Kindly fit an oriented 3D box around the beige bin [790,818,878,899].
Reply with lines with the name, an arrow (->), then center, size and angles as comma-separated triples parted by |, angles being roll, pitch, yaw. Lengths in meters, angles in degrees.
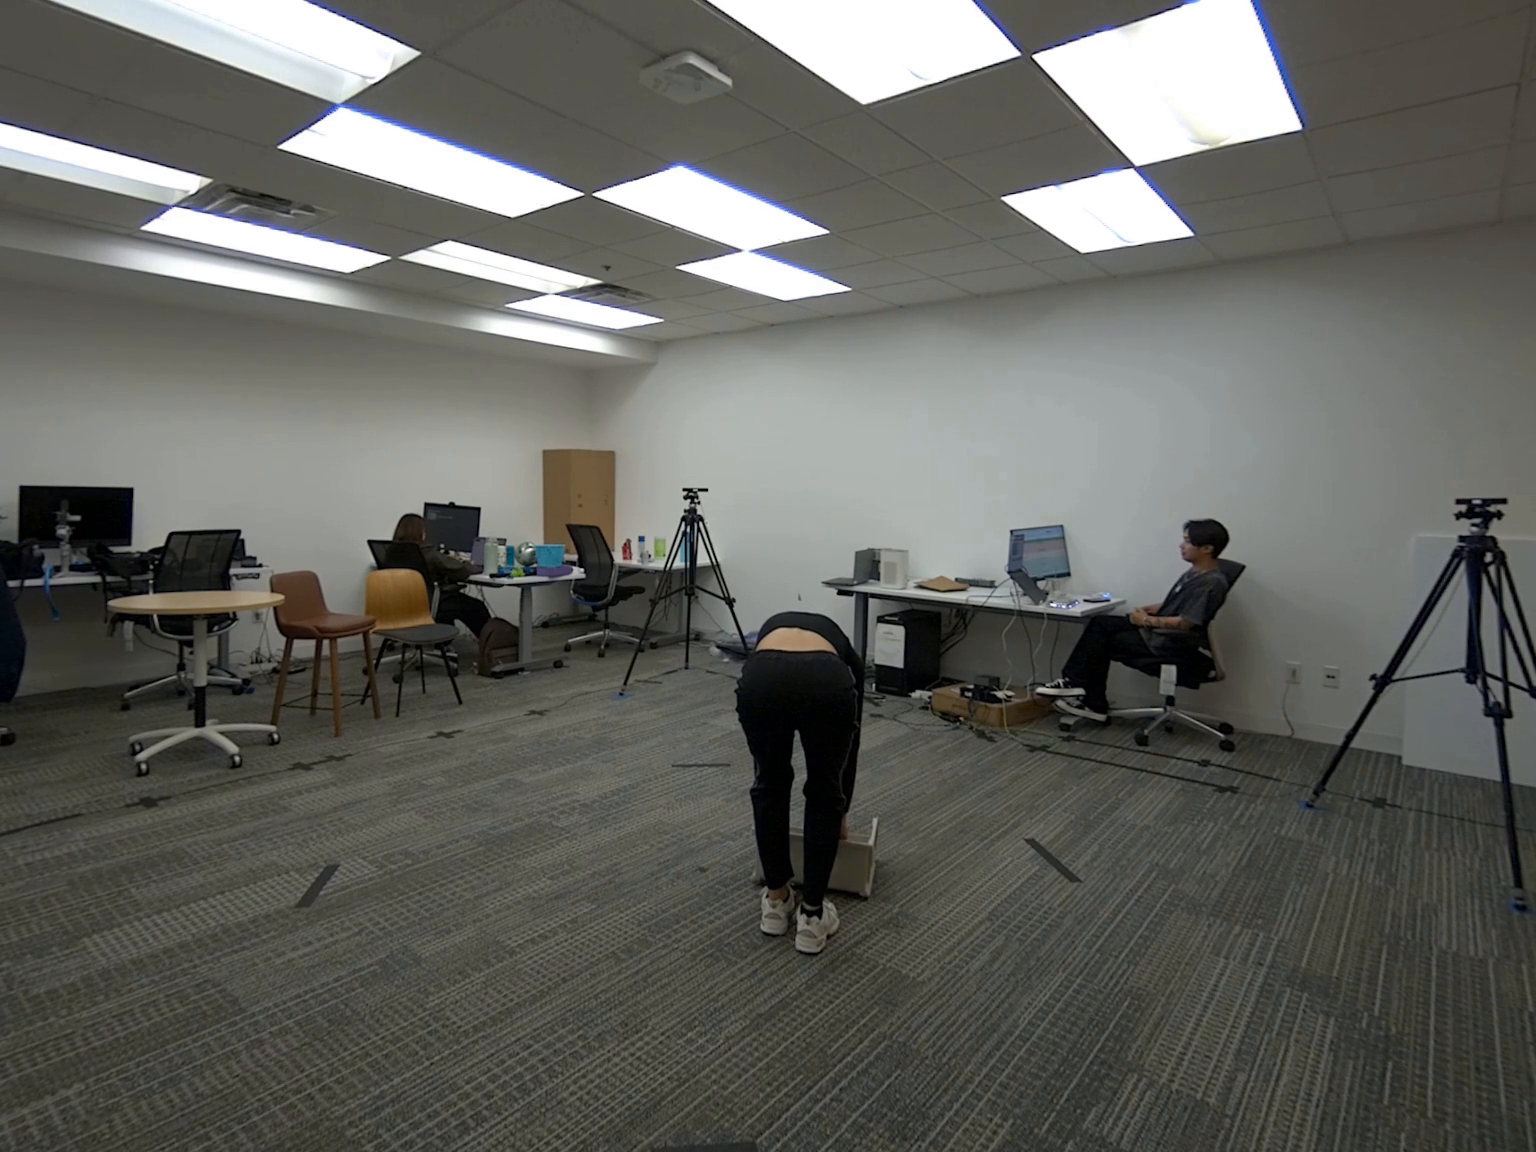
beige bin -> 0.171, 0.982, 3.105 | 0.428, 0.189, 0.372 | 3, 3, 12
